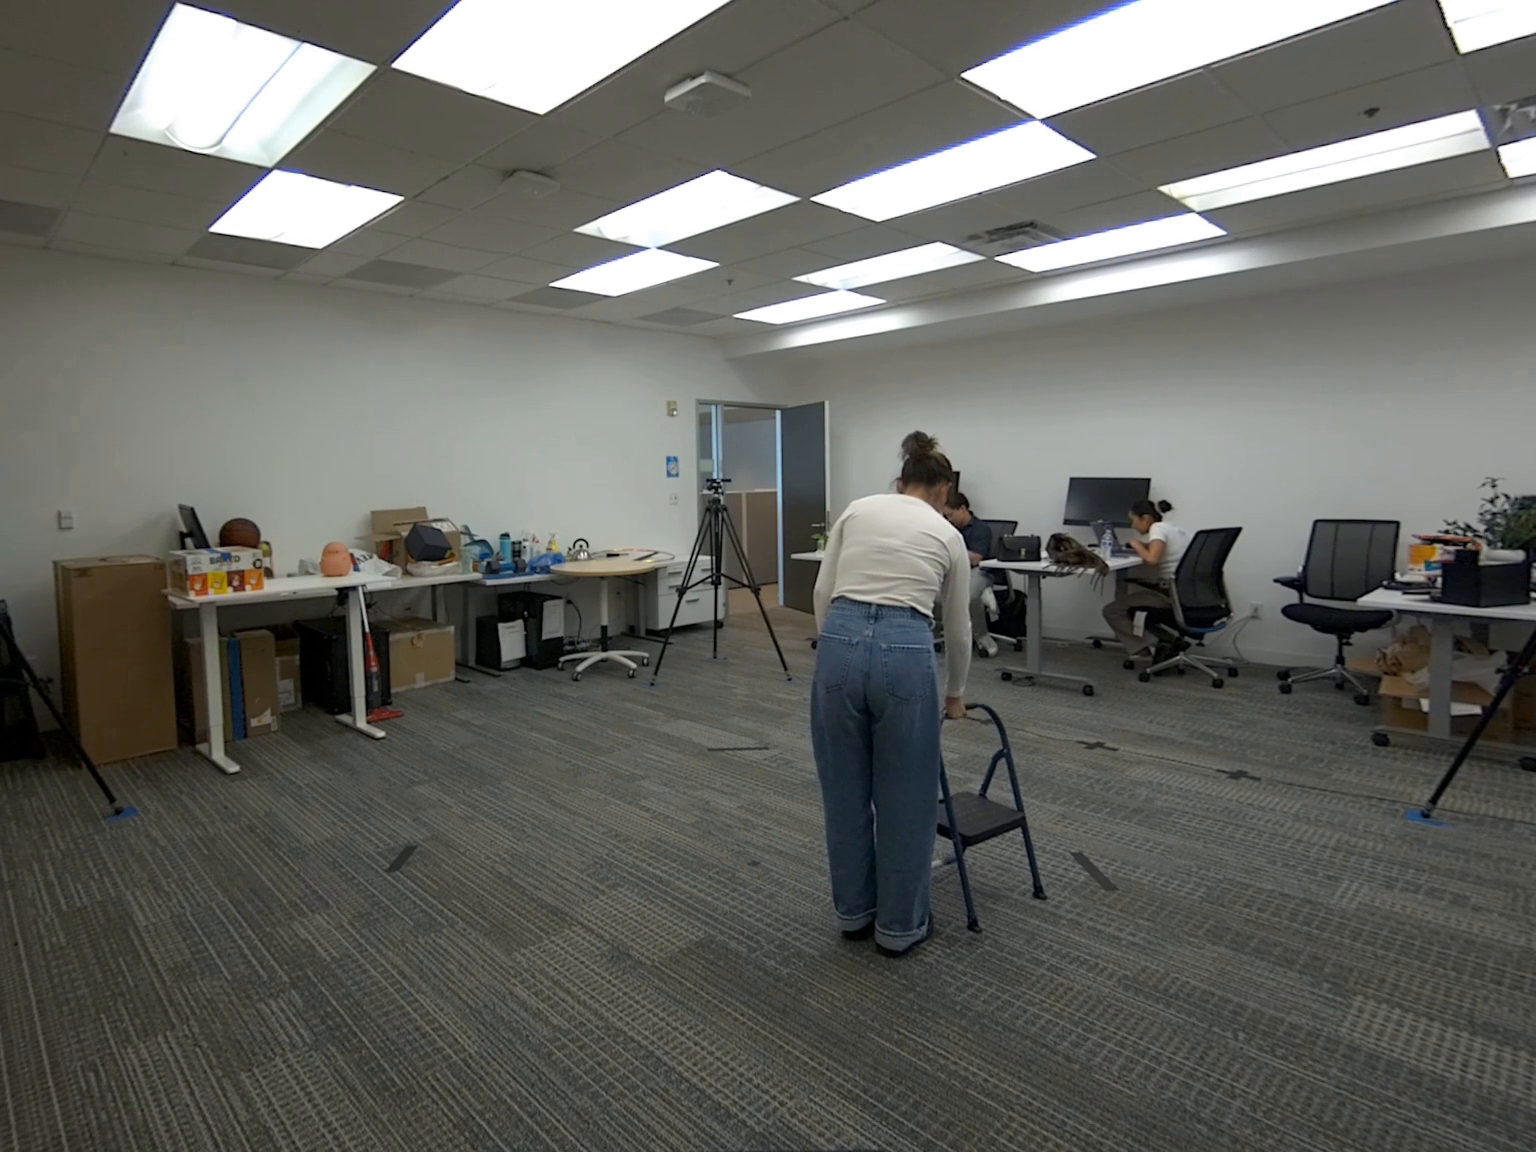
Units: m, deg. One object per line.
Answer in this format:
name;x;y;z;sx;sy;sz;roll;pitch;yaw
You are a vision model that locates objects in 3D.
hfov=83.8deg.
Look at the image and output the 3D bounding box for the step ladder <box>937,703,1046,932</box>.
step ladder;0.683;0.735;2.792;0.418;0.604;0.361;2;5;-44
